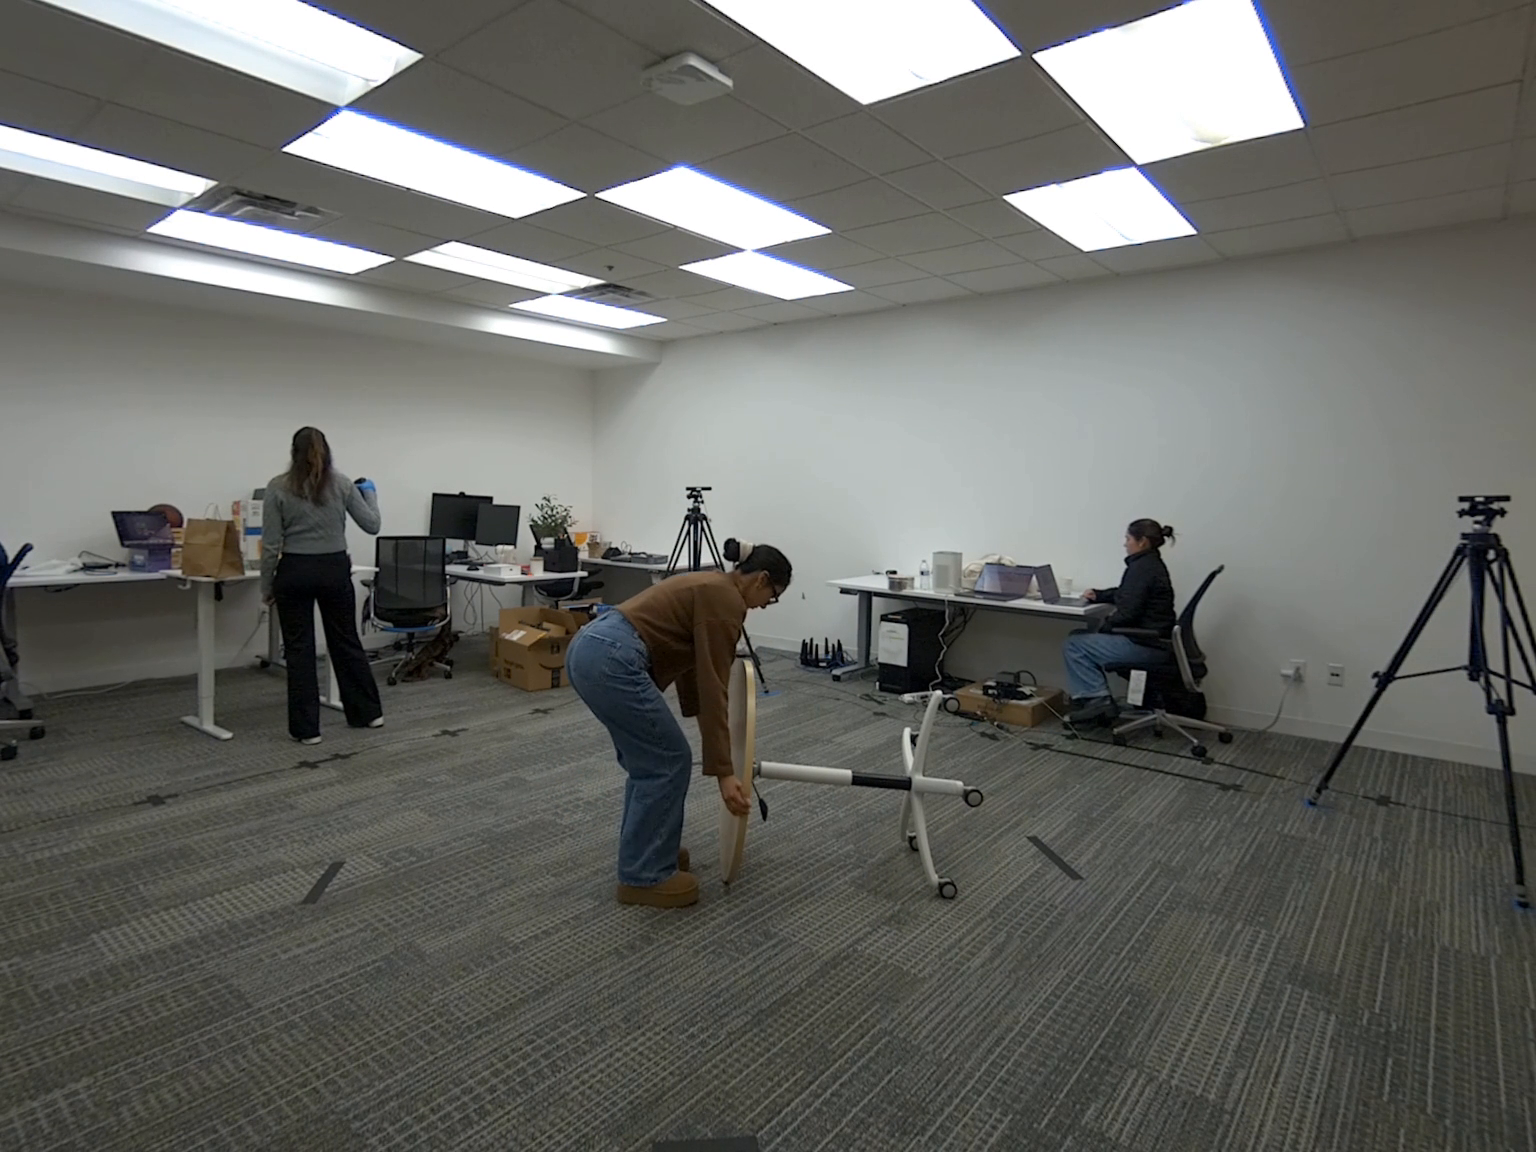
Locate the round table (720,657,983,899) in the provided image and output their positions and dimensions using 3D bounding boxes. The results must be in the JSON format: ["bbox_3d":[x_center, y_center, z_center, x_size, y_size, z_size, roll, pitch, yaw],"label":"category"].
[{"bbox_3d":[0.260,0.733,3.081,0.791,0.762,0.769,6,4,-4],"label":"round table"}]
